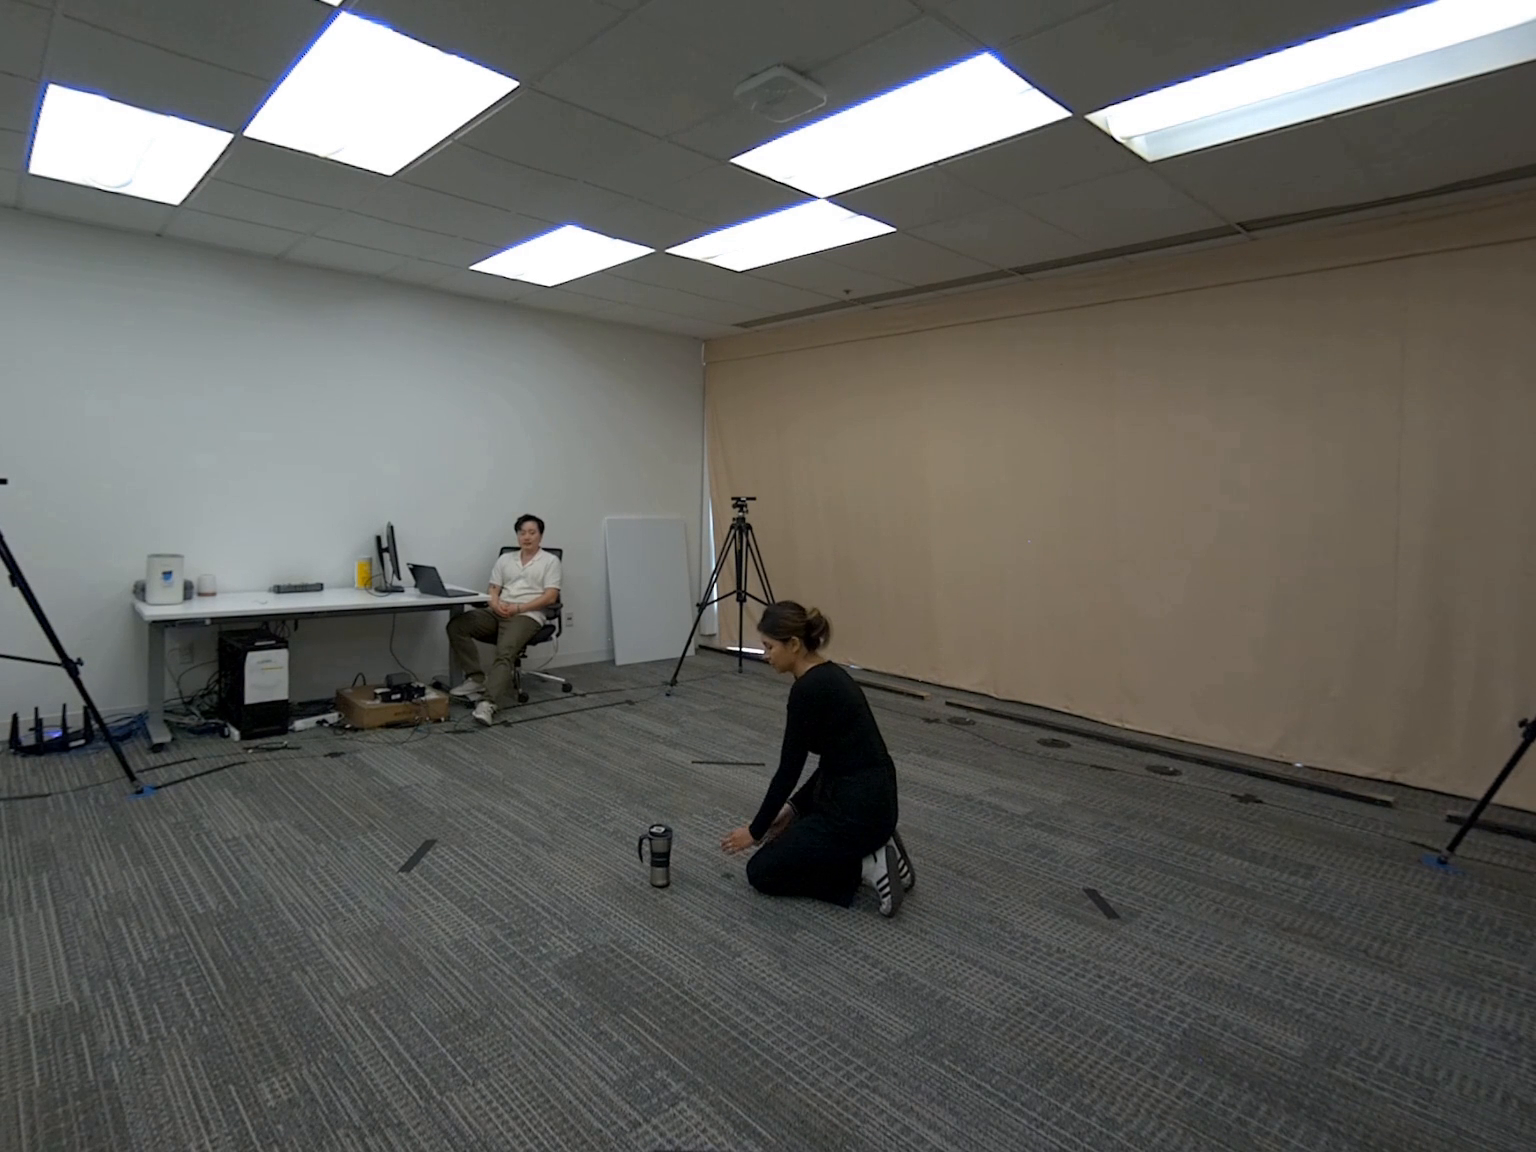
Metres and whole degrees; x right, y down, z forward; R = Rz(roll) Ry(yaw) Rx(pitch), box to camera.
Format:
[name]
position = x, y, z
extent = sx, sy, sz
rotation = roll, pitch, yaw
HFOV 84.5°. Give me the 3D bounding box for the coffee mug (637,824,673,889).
[coffee mug]
position = -0.411, 1.003, 3.031
extent = 0.123, 0.202, 0.087
rotation = 3, 5, 9
